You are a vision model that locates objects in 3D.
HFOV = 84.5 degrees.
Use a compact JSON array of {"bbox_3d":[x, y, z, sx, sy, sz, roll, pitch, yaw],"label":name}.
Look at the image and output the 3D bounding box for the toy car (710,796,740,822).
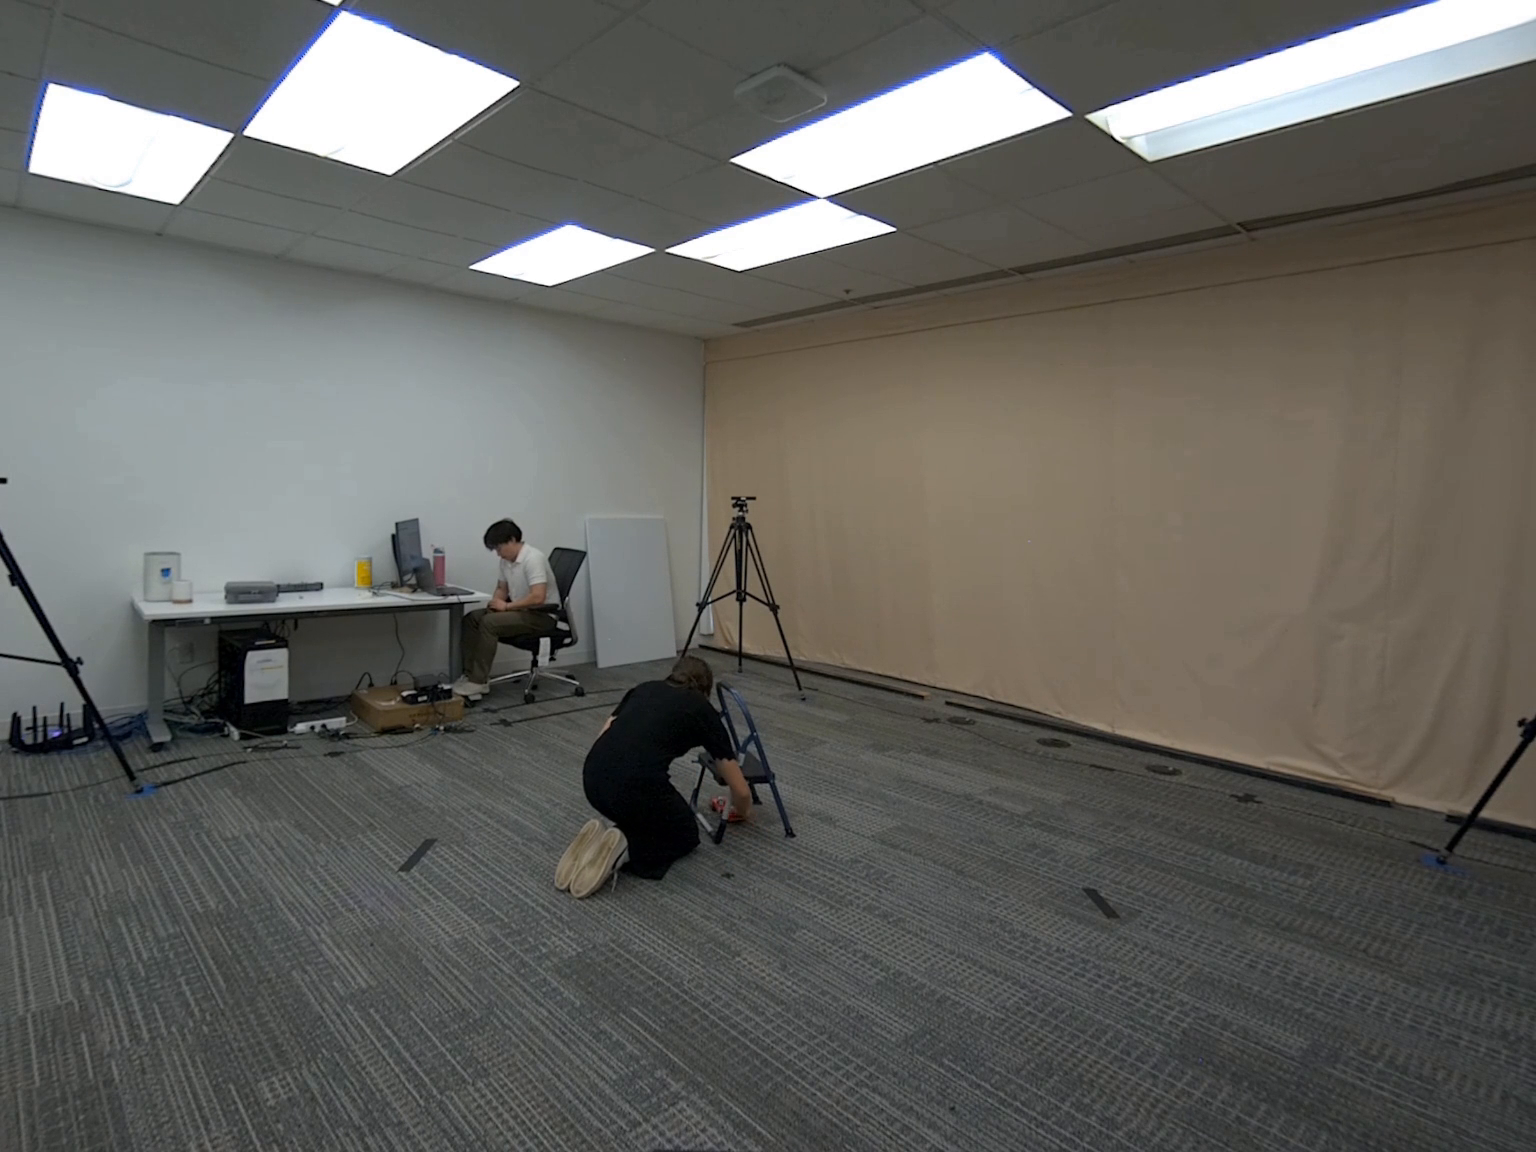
[{"bbox_3d":[-0.177,1.028,3.698,0.128,0.083,0.257,0,-4,-18],"label":"toy car"}]
